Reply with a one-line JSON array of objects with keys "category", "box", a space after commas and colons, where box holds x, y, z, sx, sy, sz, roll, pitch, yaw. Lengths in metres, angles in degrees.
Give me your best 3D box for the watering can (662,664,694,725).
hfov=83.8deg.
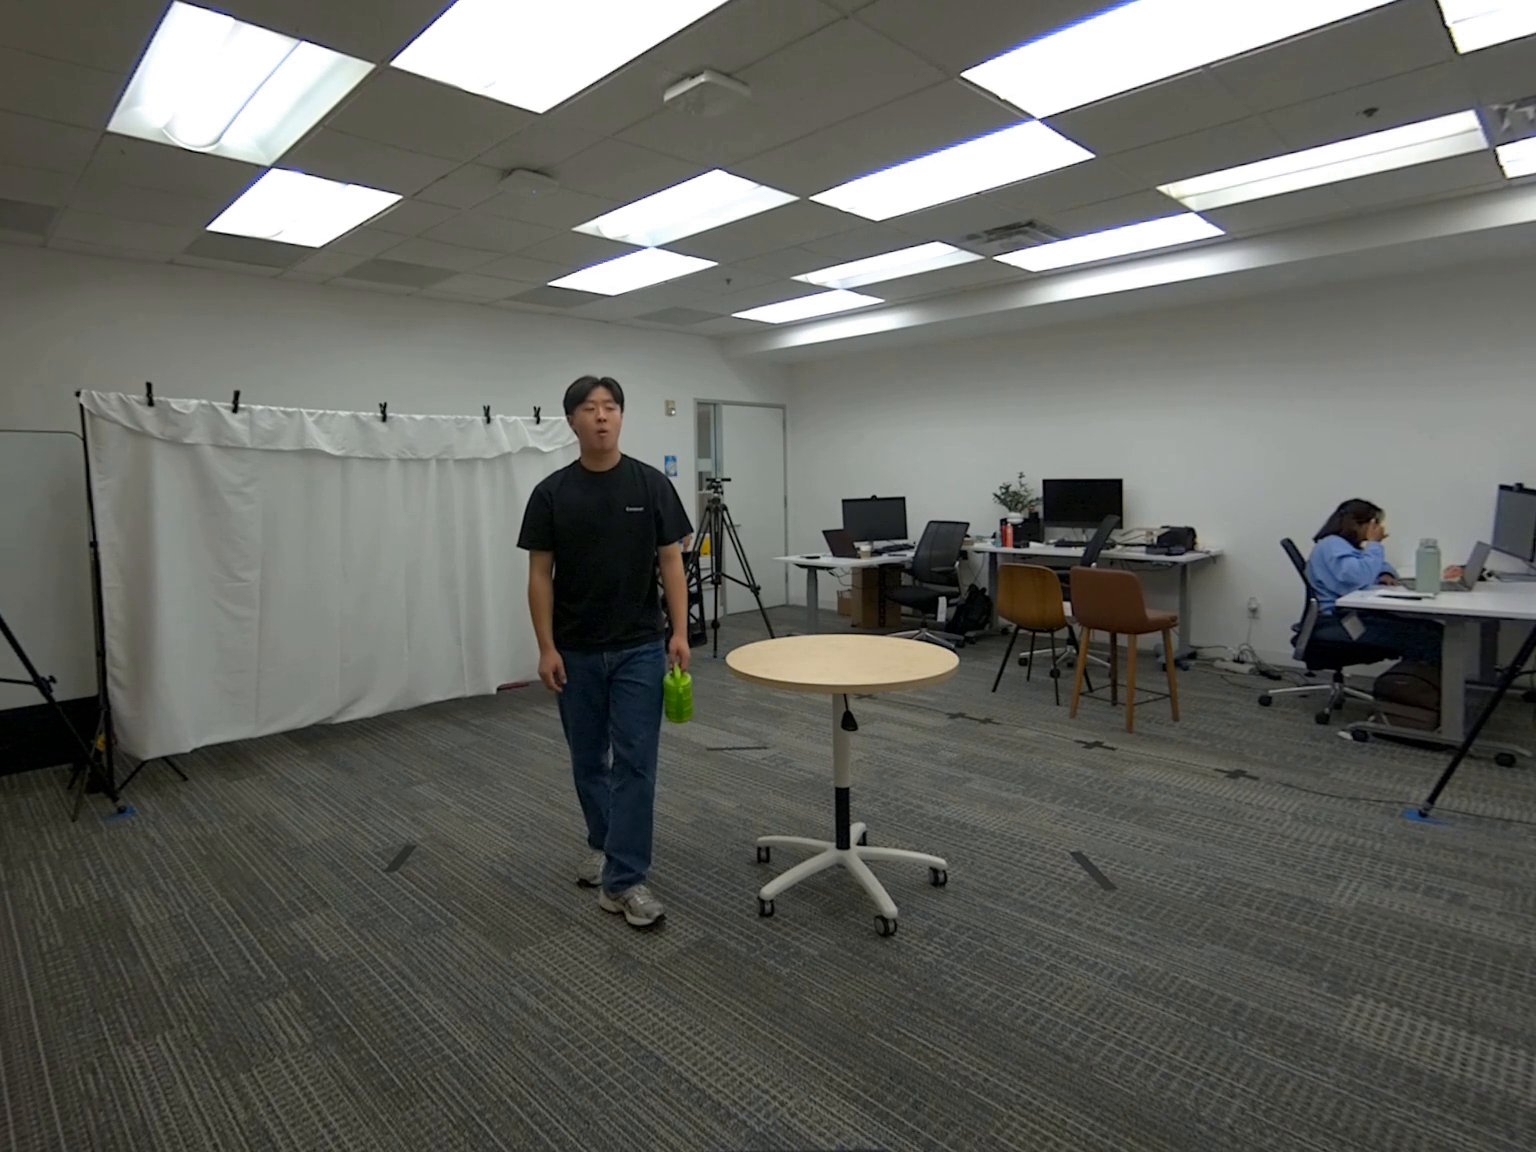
[{"category": "watering can", "box": [-0.289, 0.389, 2.766, 0.098, 0.174, 0.282, -3, 16, 2]}]
